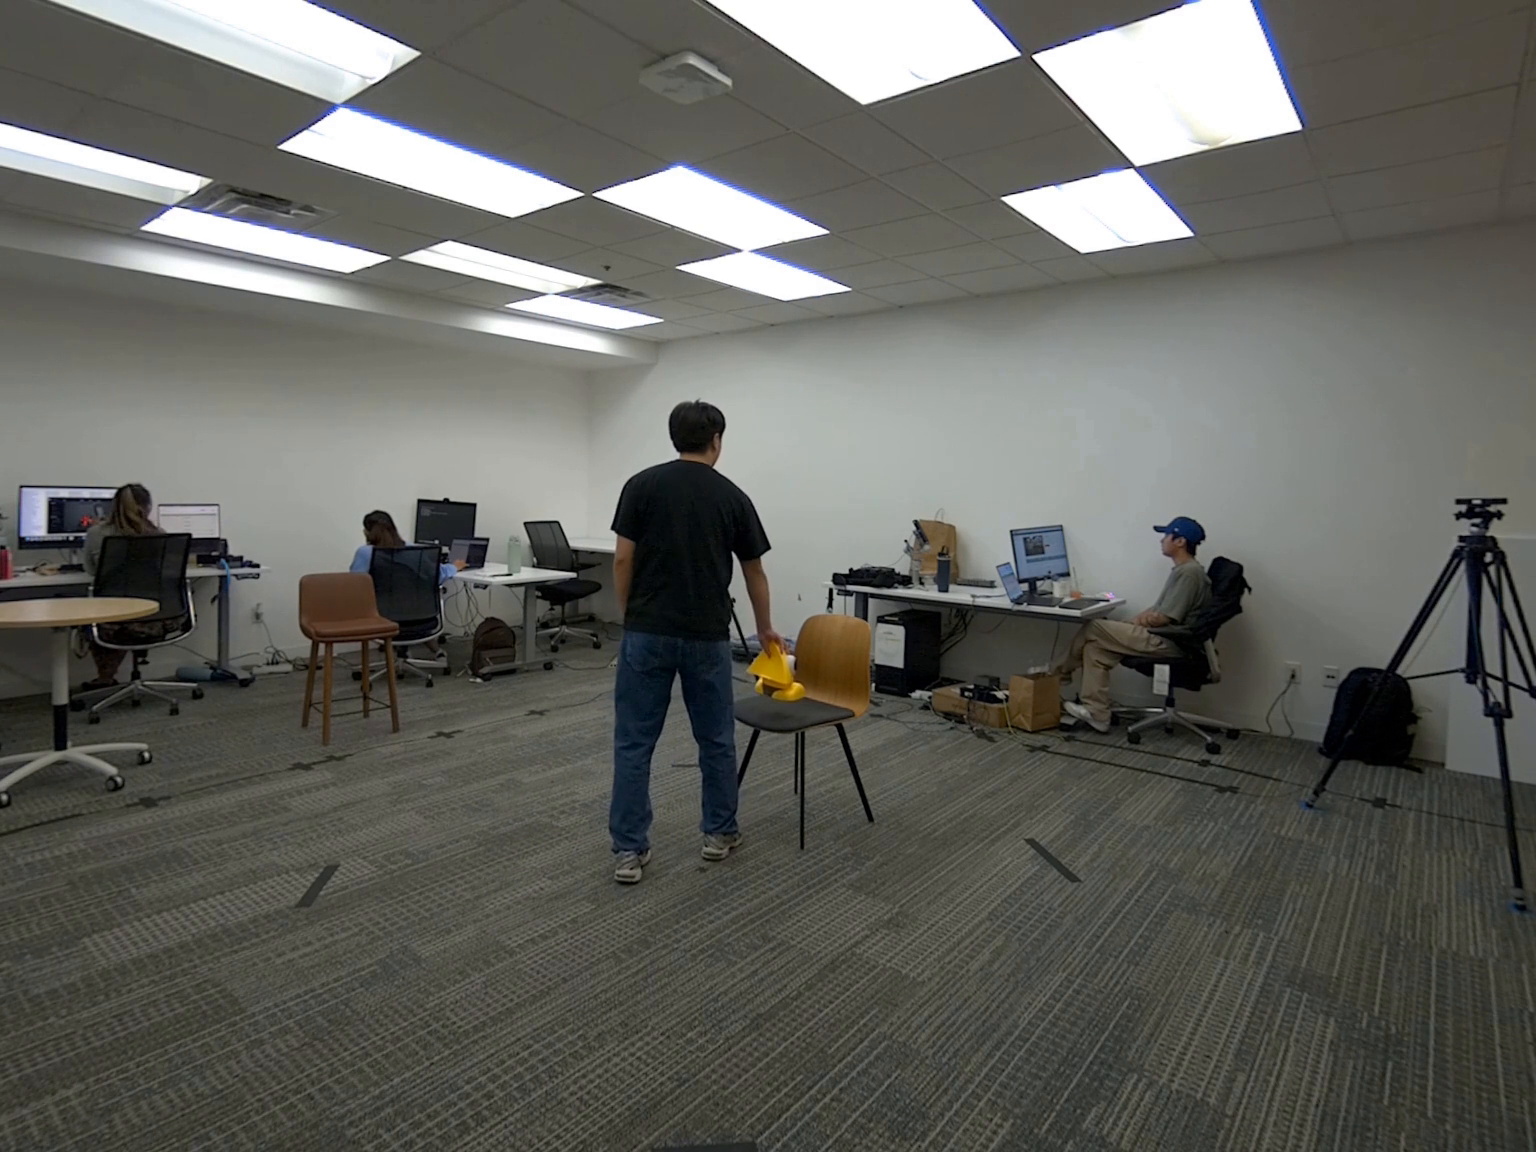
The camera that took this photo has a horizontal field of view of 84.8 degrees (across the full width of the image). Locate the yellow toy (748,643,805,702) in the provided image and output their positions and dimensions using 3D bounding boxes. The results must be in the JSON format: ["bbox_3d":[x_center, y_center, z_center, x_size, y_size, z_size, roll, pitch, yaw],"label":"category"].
[{"bbox_3d":[0.044,0.362,3.436,0.212,0.229,0.187,10,10,40],"label":"yellow toy"}]
